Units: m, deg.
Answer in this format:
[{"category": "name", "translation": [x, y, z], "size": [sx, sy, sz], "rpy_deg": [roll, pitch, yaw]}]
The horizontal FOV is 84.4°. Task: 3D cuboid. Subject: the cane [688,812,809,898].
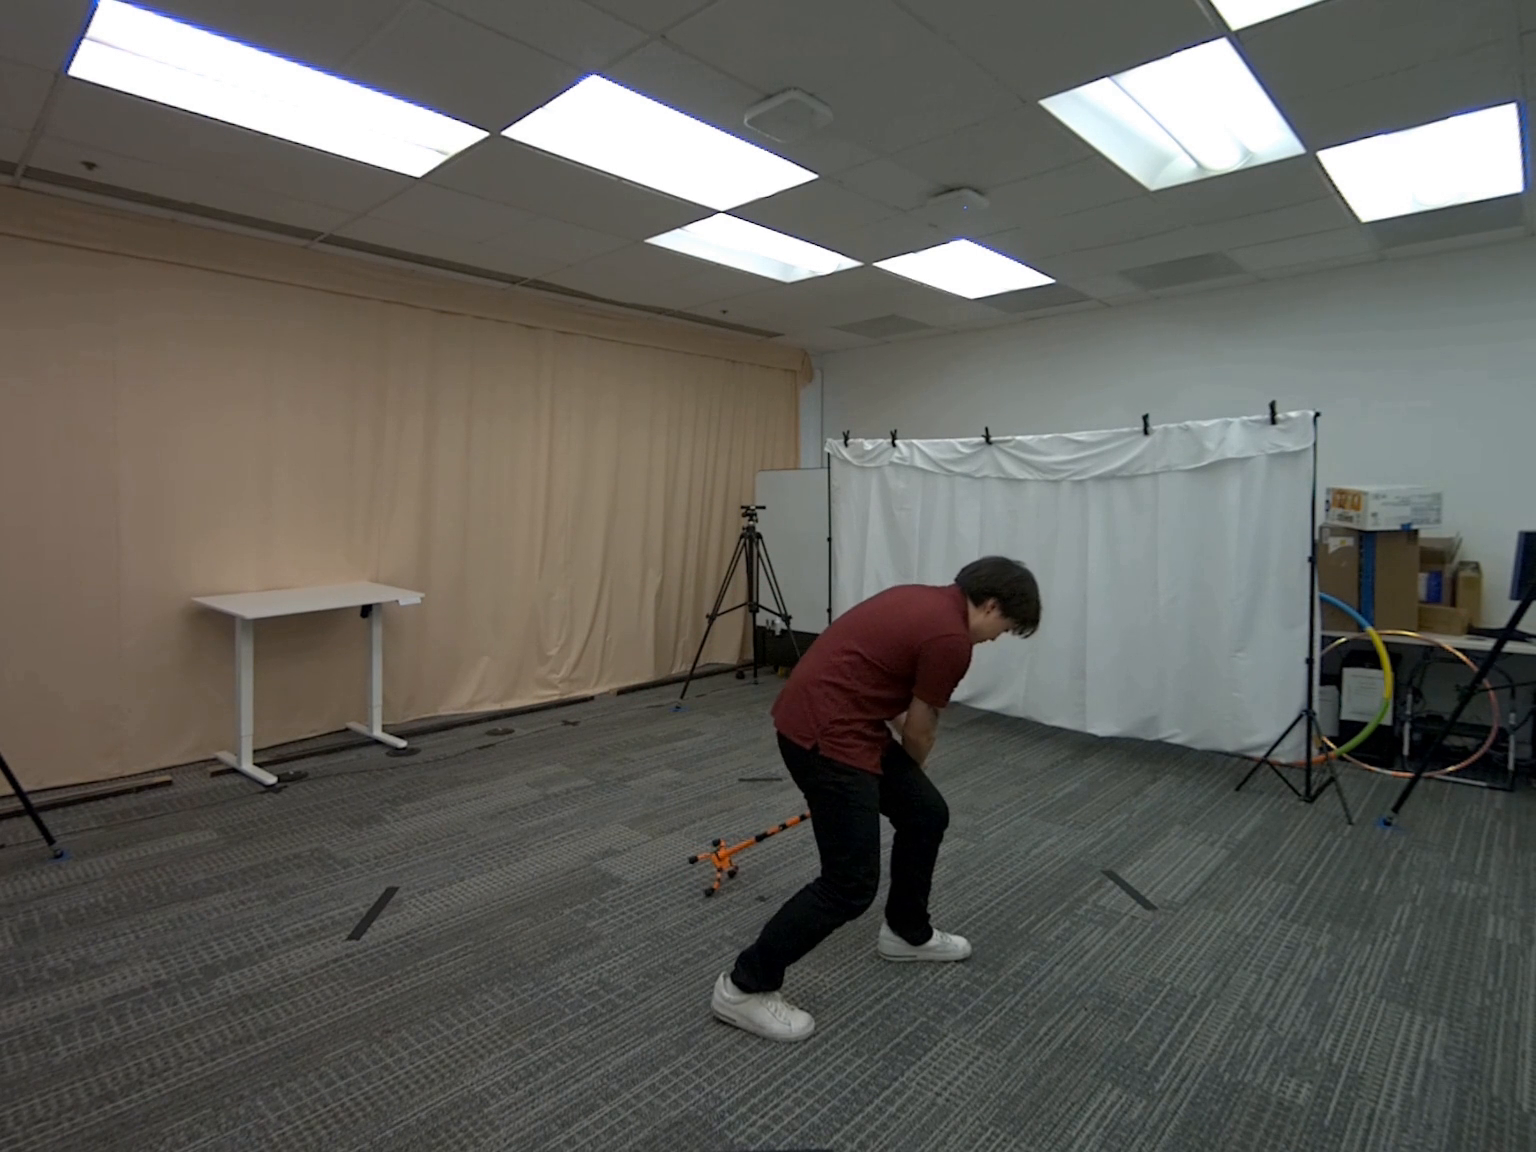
[{"category": "cane", "translation": [0.136, 0.841, 2.902], "size": [0.919, 0.153, 0.201], "rpy_deg": [-33, -11, 25]}]
